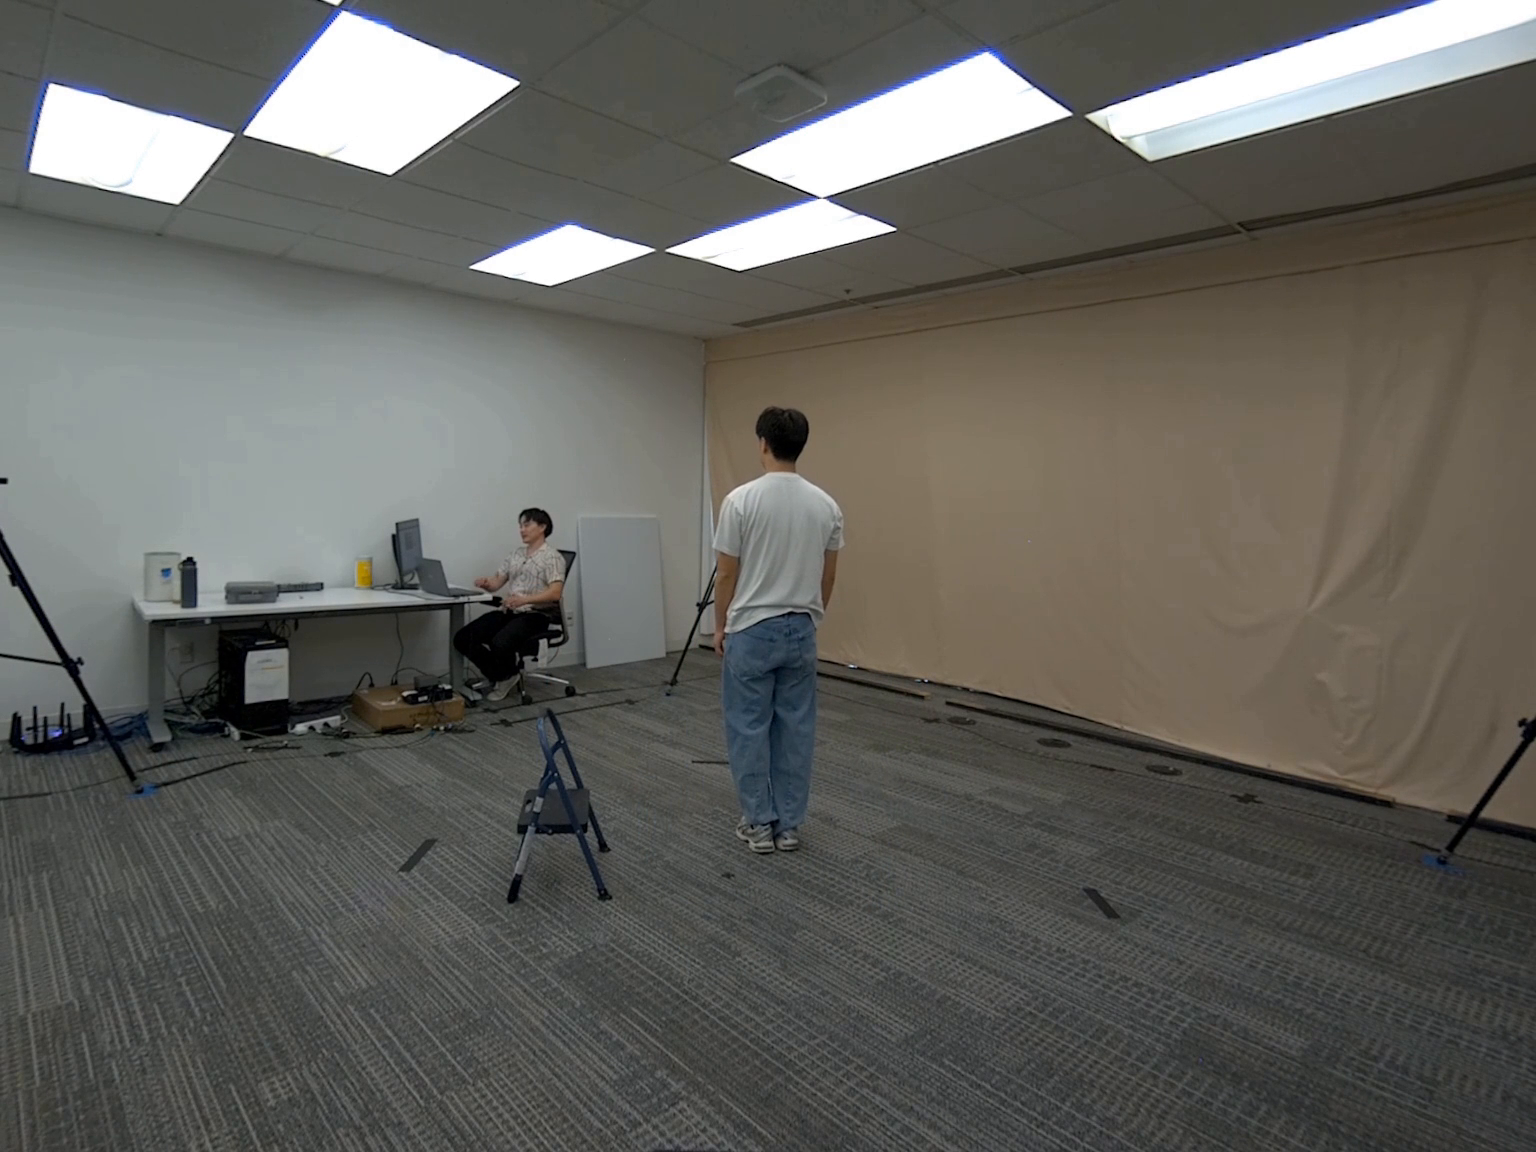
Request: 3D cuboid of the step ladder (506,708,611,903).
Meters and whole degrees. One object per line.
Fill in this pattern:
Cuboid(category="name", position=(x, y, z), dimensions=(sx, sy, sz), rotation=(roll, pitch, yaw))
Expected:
Cuboid(category="step ladder", position=(-0.753, 0.797, 3.066), dimensions=(0.346, 0.605, 0.435), rotation=(1, 3, -11))
